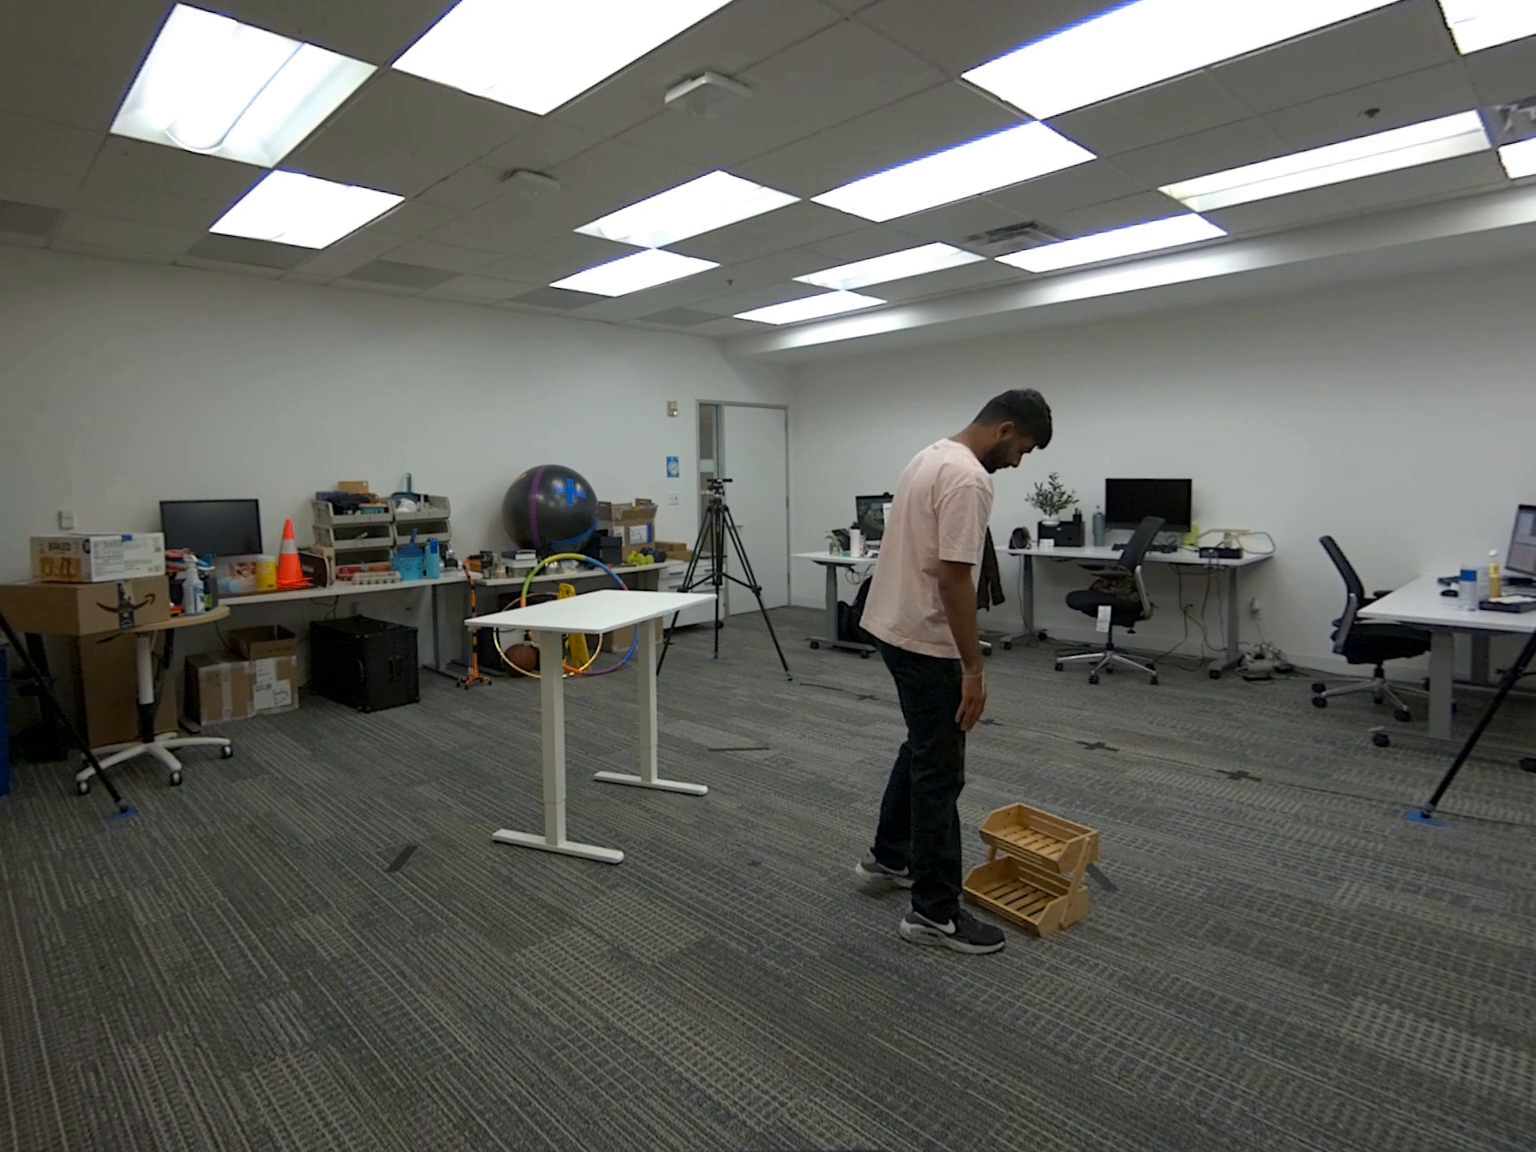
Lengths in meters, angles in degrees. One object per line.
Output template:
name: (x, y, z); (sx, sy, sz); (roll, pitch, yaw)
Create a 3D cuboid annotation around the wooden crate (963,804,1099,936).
wooden crate: (0.844, 0.934, 2.761); (0.294, 0.272, 0.334); (-4, 6, -35)
